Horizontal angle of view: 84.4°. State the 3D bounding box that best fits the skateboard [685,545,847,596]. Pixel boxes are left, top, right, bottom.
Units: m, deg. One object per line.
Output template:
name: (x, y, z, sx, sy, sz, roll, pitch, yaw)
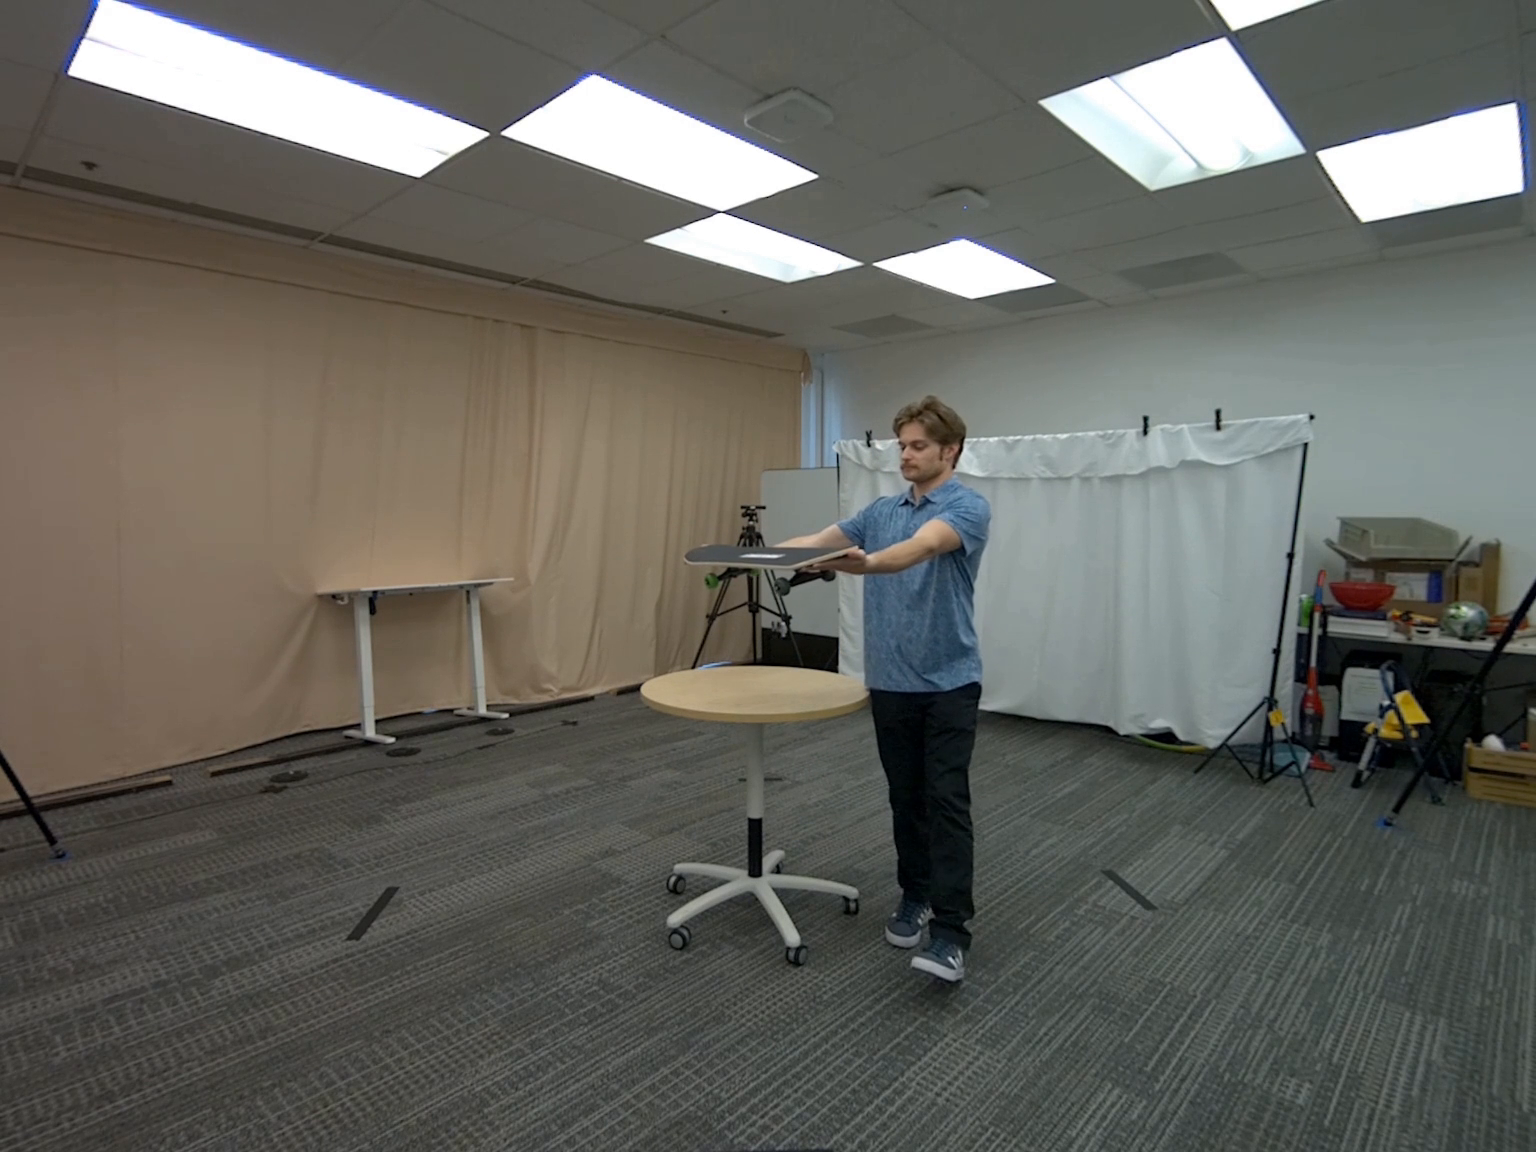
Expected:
skateboard: (-0.004, -0.023, 2.440, 0.189, 0.109, 0.807, -18, 11, -29)
